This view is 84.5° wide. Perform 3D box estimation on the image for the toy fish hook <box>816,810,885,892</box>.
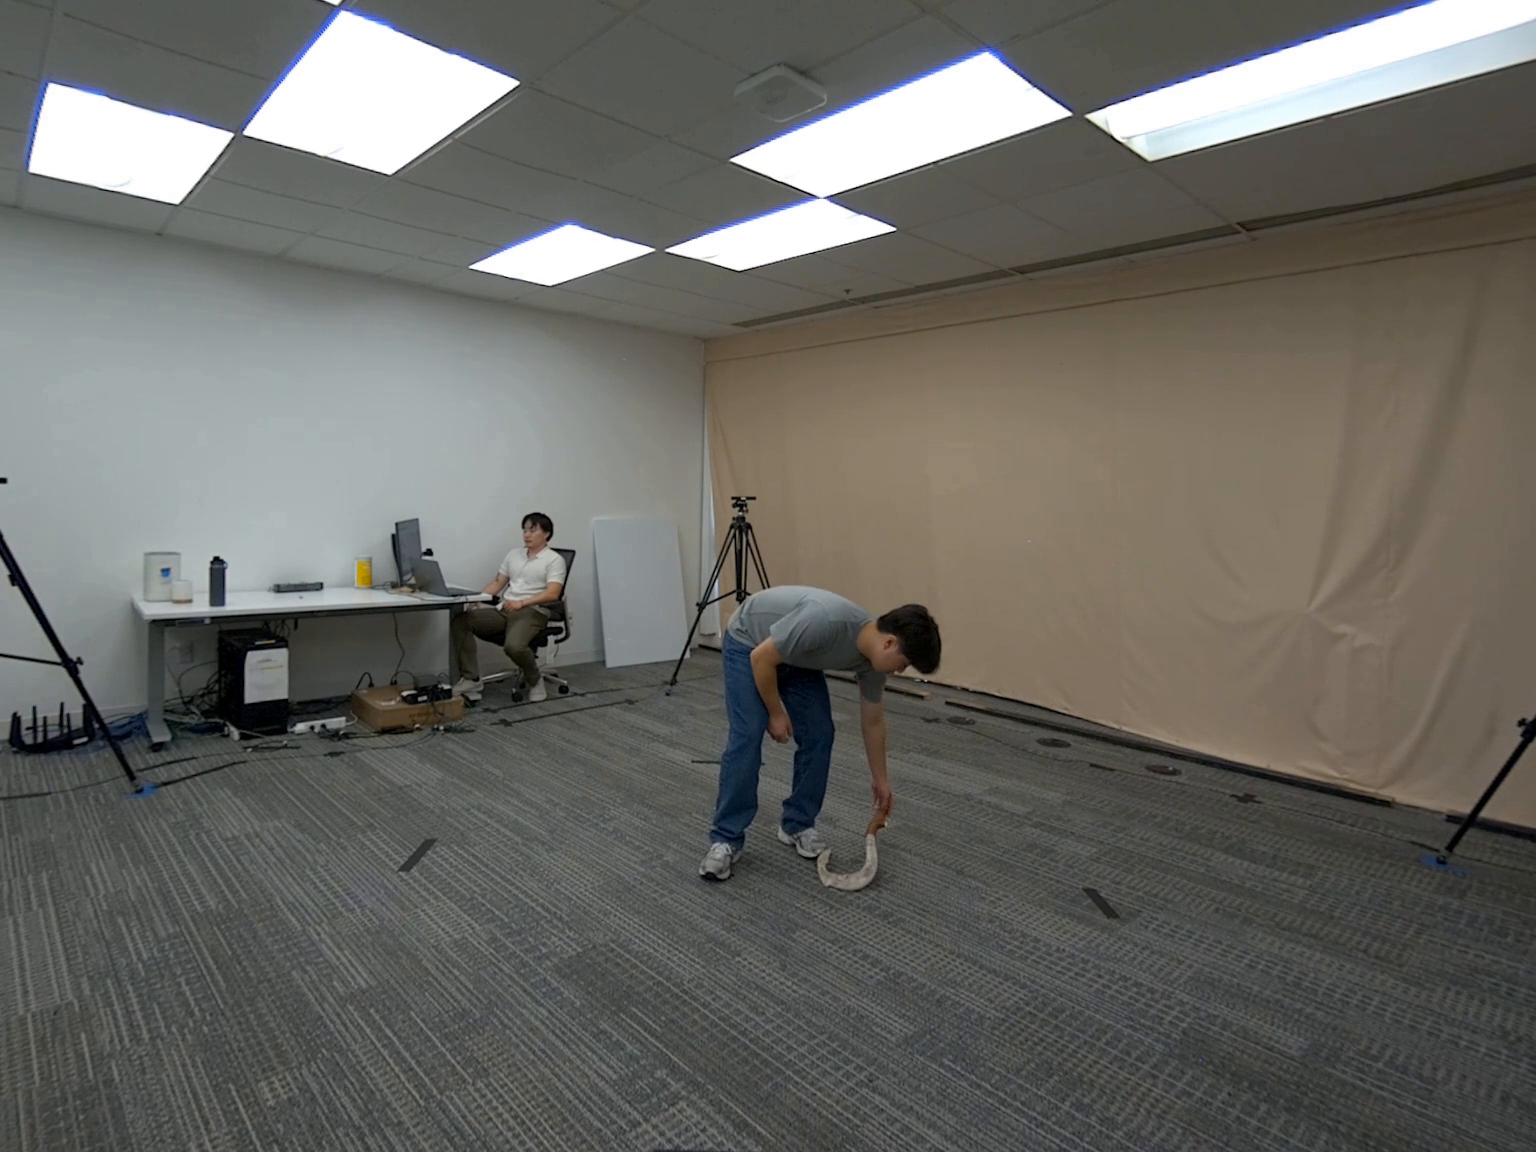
[{"bbox_3d":[0.325,1.027,3.215,0.228,0.048,0.505,4,19,20],"label":"toy fish hook"}]
